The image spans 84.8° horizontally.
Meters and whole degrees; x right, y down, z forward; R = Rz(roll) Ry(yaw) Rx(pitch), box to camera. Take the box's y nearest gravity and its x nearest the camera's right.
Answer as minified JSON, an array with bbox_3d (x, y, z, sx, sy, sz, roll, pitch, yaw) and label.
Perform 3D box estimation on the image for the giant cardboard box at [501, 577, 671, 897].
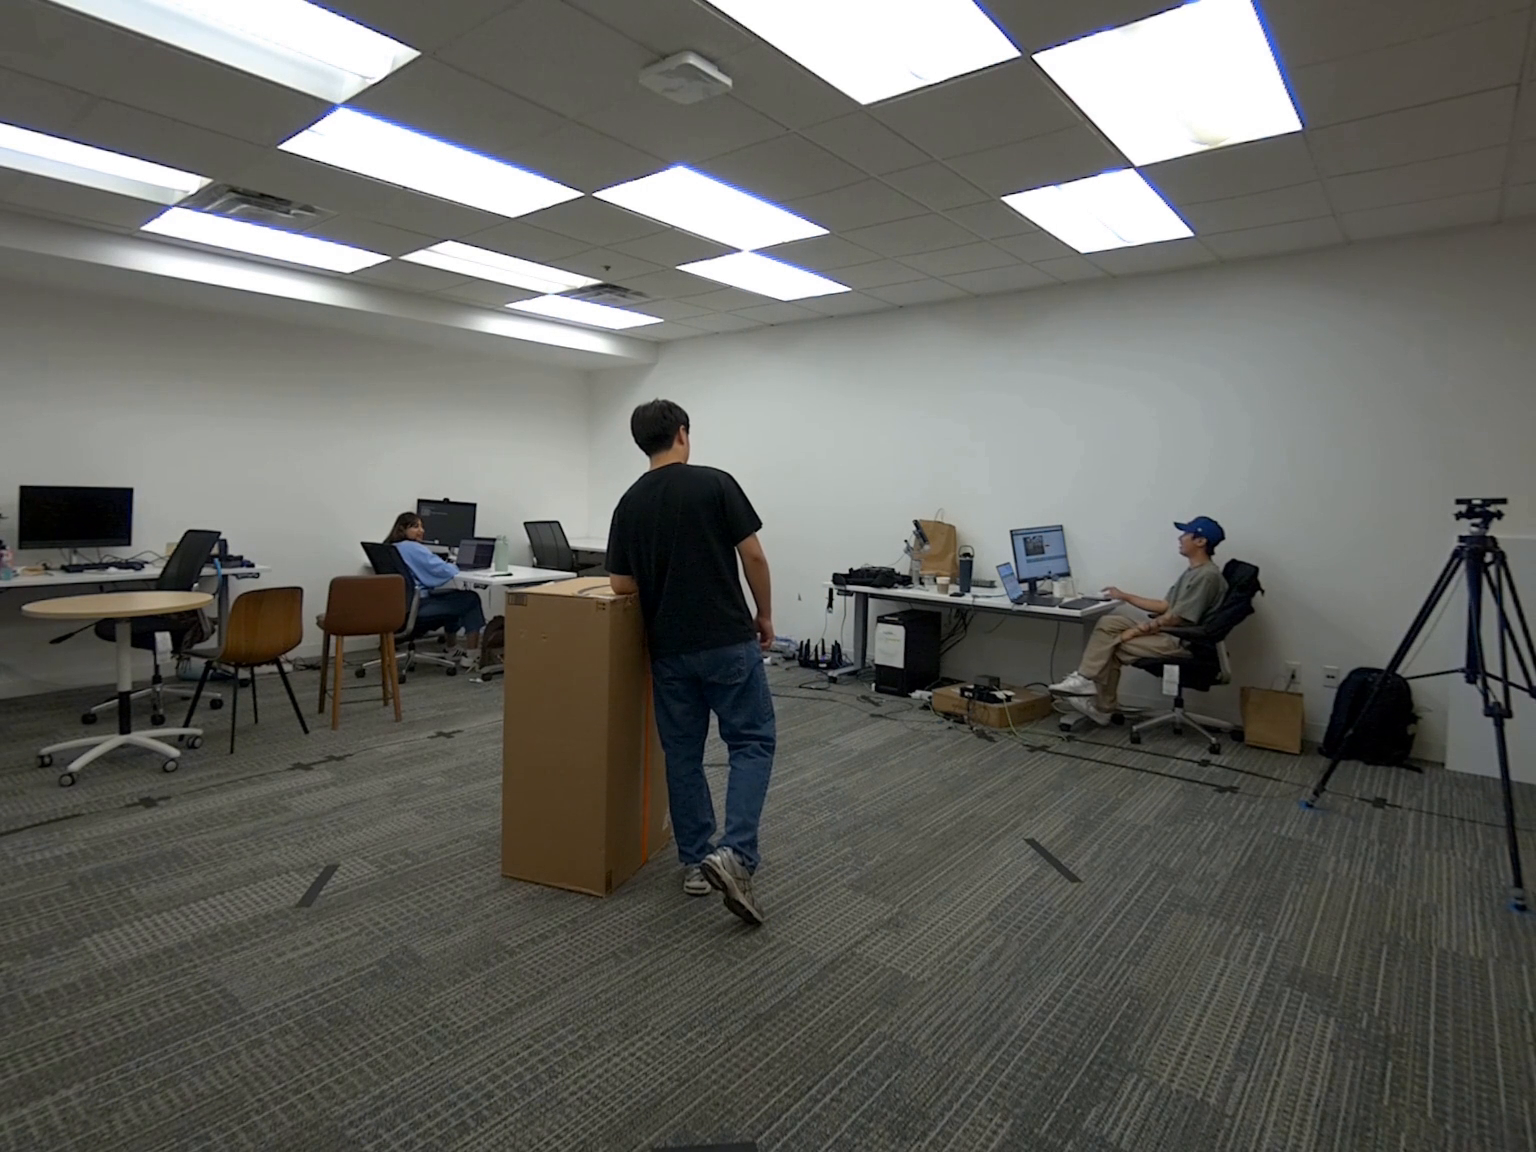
[{"bbox_3d":[-0.665,0.541,3.195,0.457,1.024,0.572,3,3,20],"label":"giant cardboard box"}]
